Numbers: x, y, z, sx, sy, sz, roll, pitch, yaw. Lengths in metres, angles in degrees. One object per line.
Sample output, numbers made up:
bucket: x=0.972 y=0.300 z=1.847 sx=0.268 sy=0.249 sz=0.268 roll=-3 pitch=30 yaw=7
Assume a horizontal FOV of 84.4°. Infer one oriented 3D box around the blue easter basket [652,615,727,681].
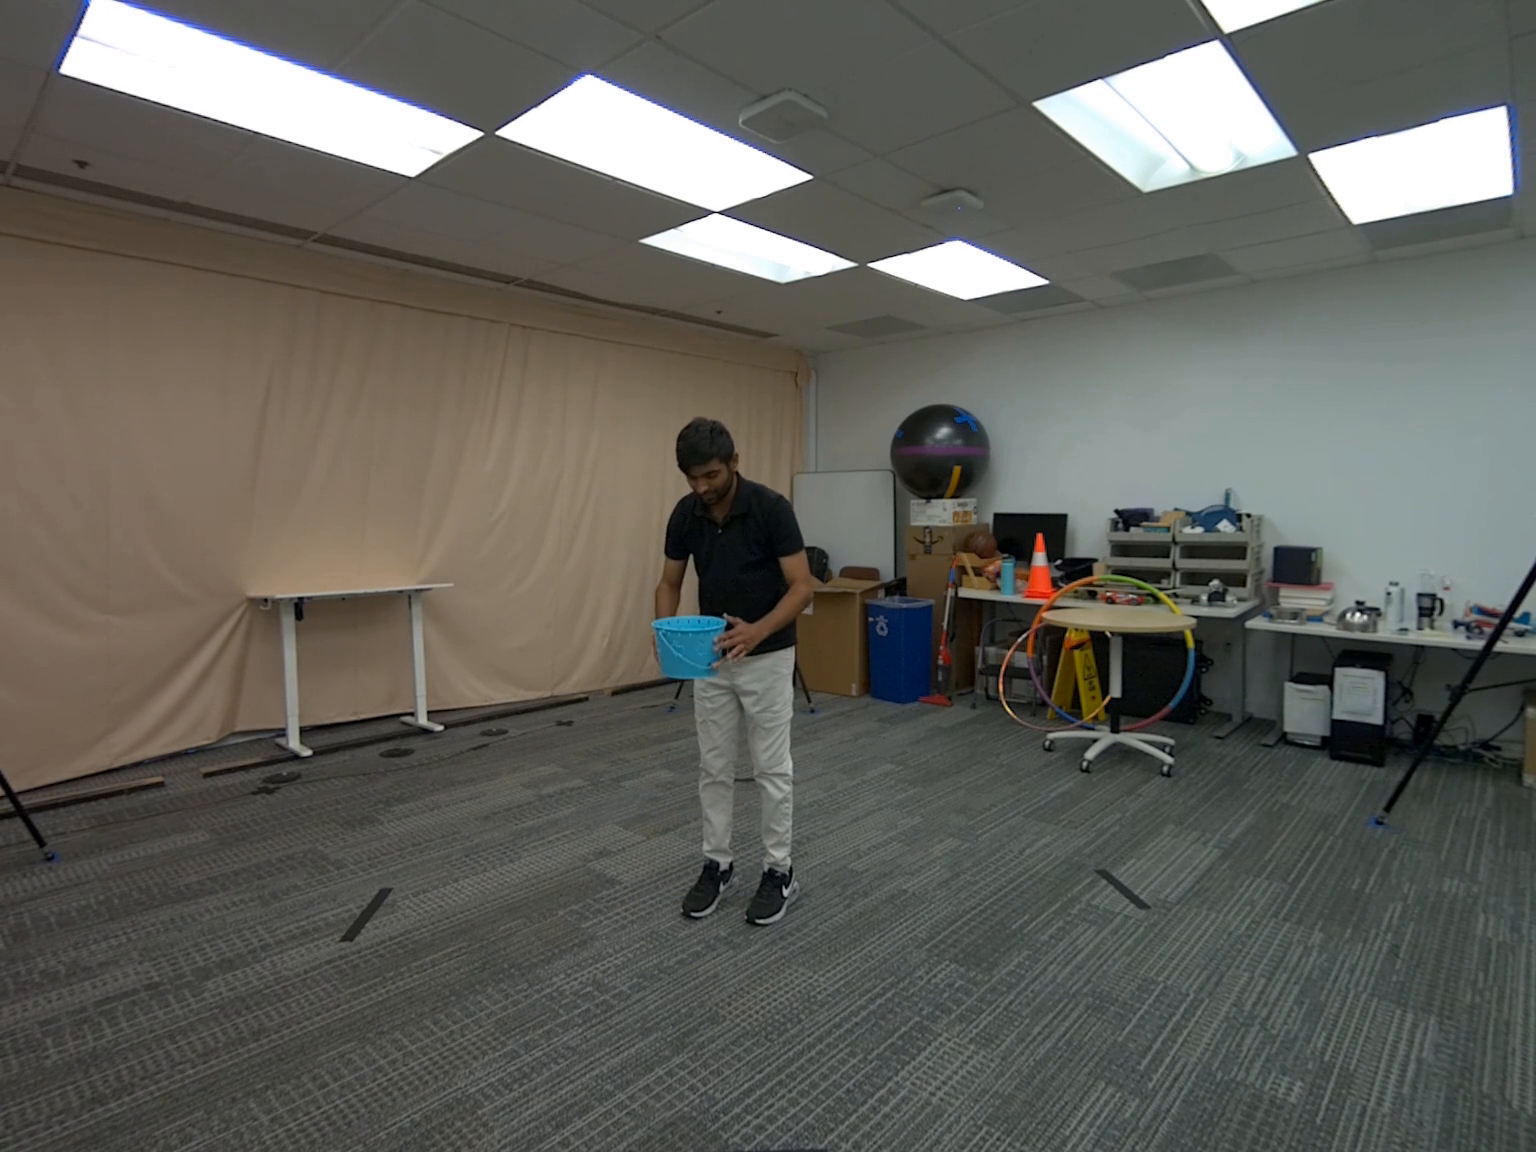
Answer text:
blue easter basket: x=-0.238 y=0.222 z=2.572 sx=0.243 sy=0.155 sz=0.244 roll=-2 pitch=5 yaw=-2
